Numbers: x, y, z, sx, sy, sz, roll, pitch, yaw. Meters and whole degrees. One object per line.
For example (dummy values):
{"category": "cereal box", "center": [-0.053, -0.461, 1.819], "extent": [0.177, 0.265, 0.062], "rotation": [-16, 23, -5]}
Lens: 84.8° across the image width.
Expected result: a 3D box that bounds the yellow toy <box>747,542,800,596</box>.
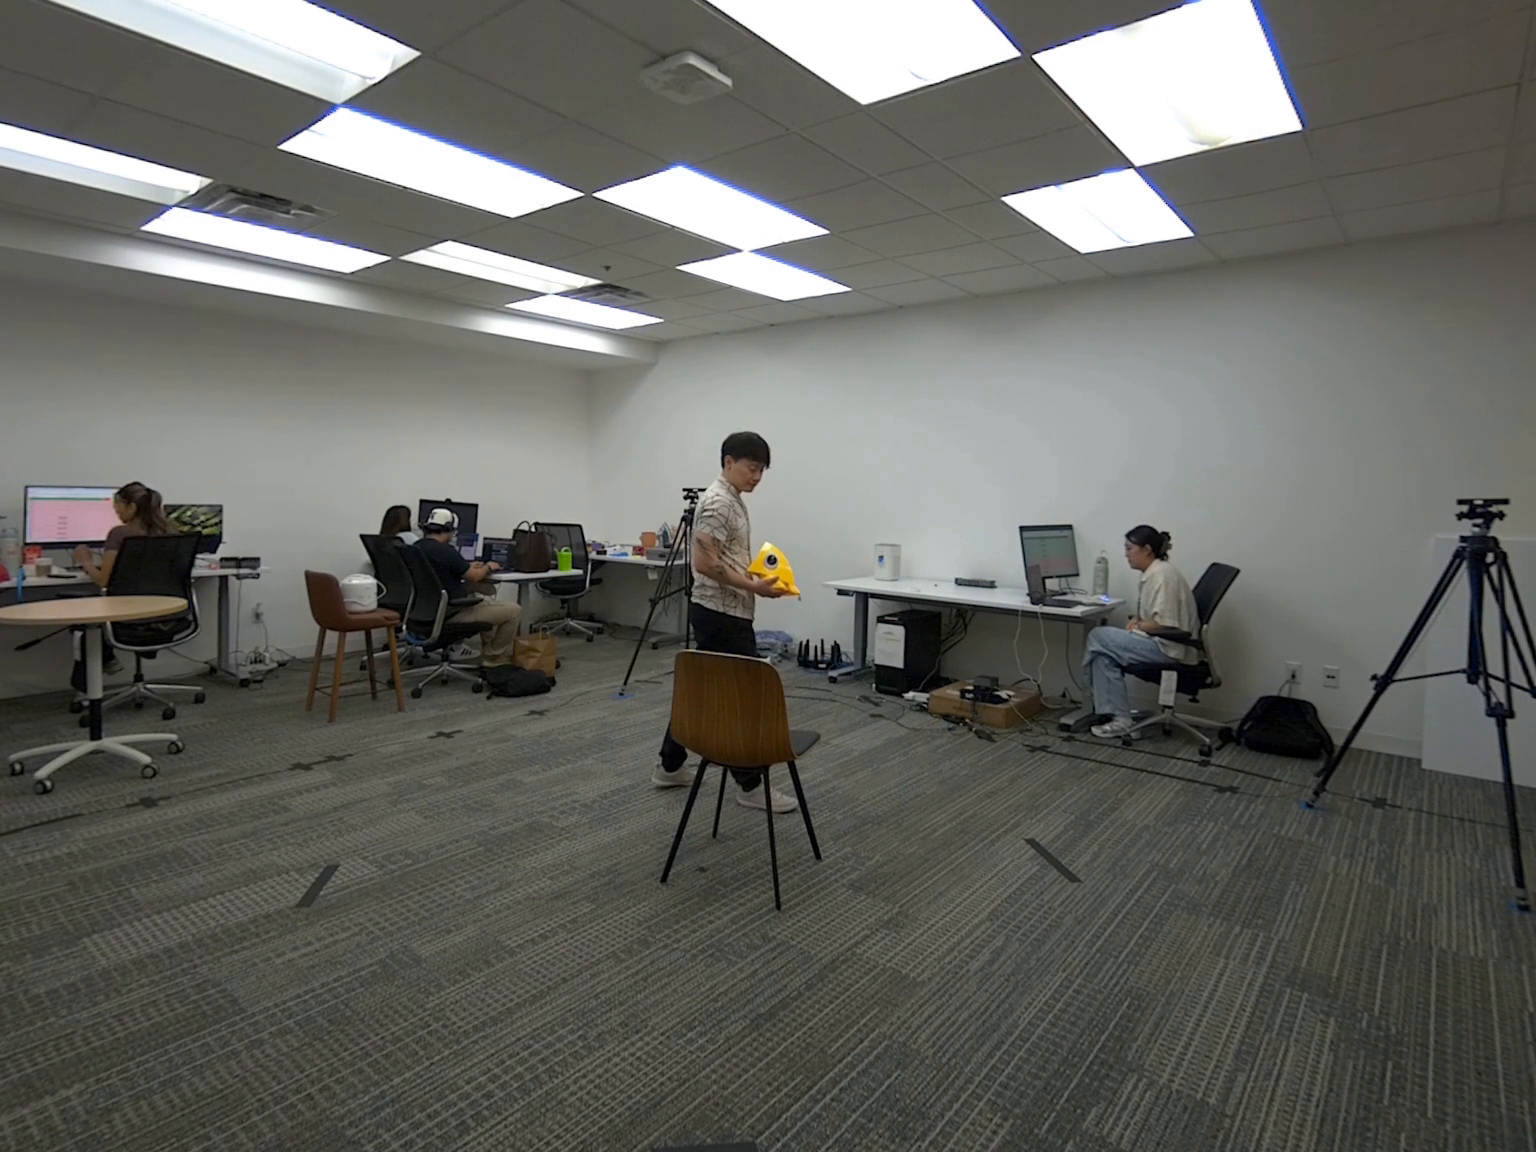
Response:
{"category": "yellow toy", "center": [0.025, -0.047, 3.779], "extent": [0.198, 0.233, 0.197], "rotation": [-5, -15, 33]}
